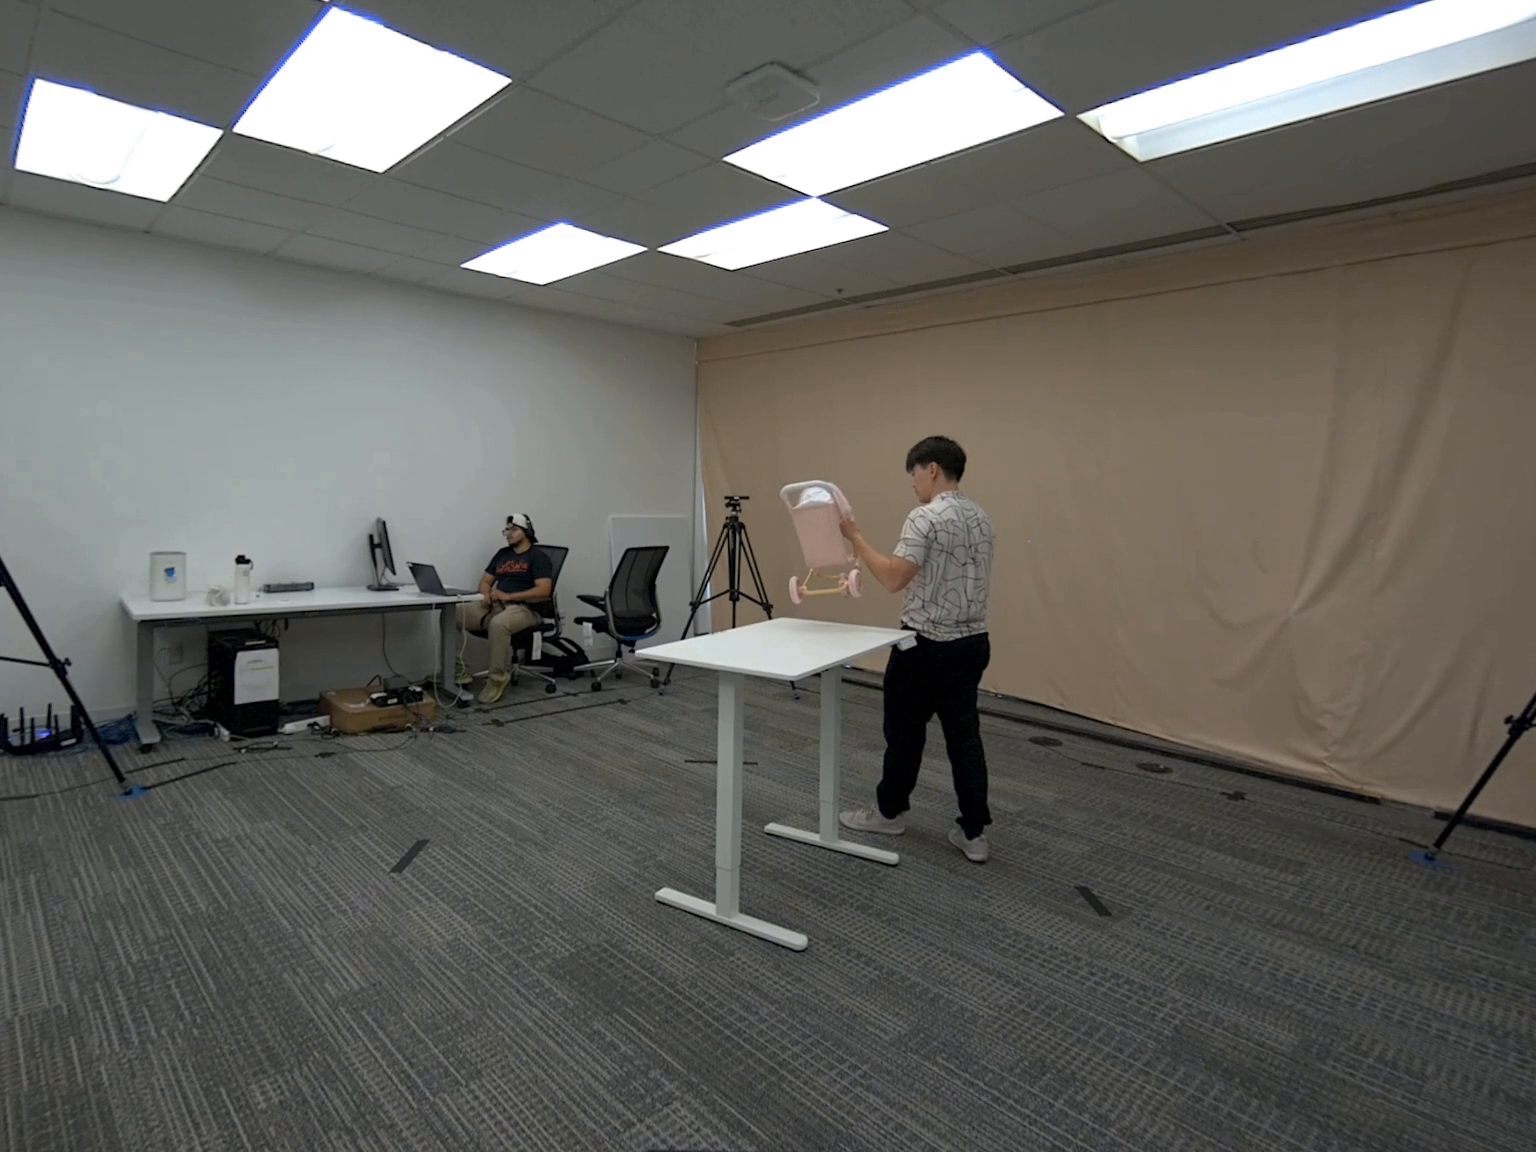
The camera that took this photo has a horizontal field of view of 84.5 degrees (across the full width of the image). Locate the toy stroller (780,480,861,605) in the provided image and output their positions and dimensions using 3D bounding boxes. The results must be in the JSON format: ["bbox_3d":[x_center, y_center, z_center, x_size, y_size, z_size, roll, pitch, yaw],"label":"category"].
[{"bbox_3d":[0.231,-0.138,3.374,0.286,0.531,0.338,-7,10,27],"label":"toy stroller"}]
